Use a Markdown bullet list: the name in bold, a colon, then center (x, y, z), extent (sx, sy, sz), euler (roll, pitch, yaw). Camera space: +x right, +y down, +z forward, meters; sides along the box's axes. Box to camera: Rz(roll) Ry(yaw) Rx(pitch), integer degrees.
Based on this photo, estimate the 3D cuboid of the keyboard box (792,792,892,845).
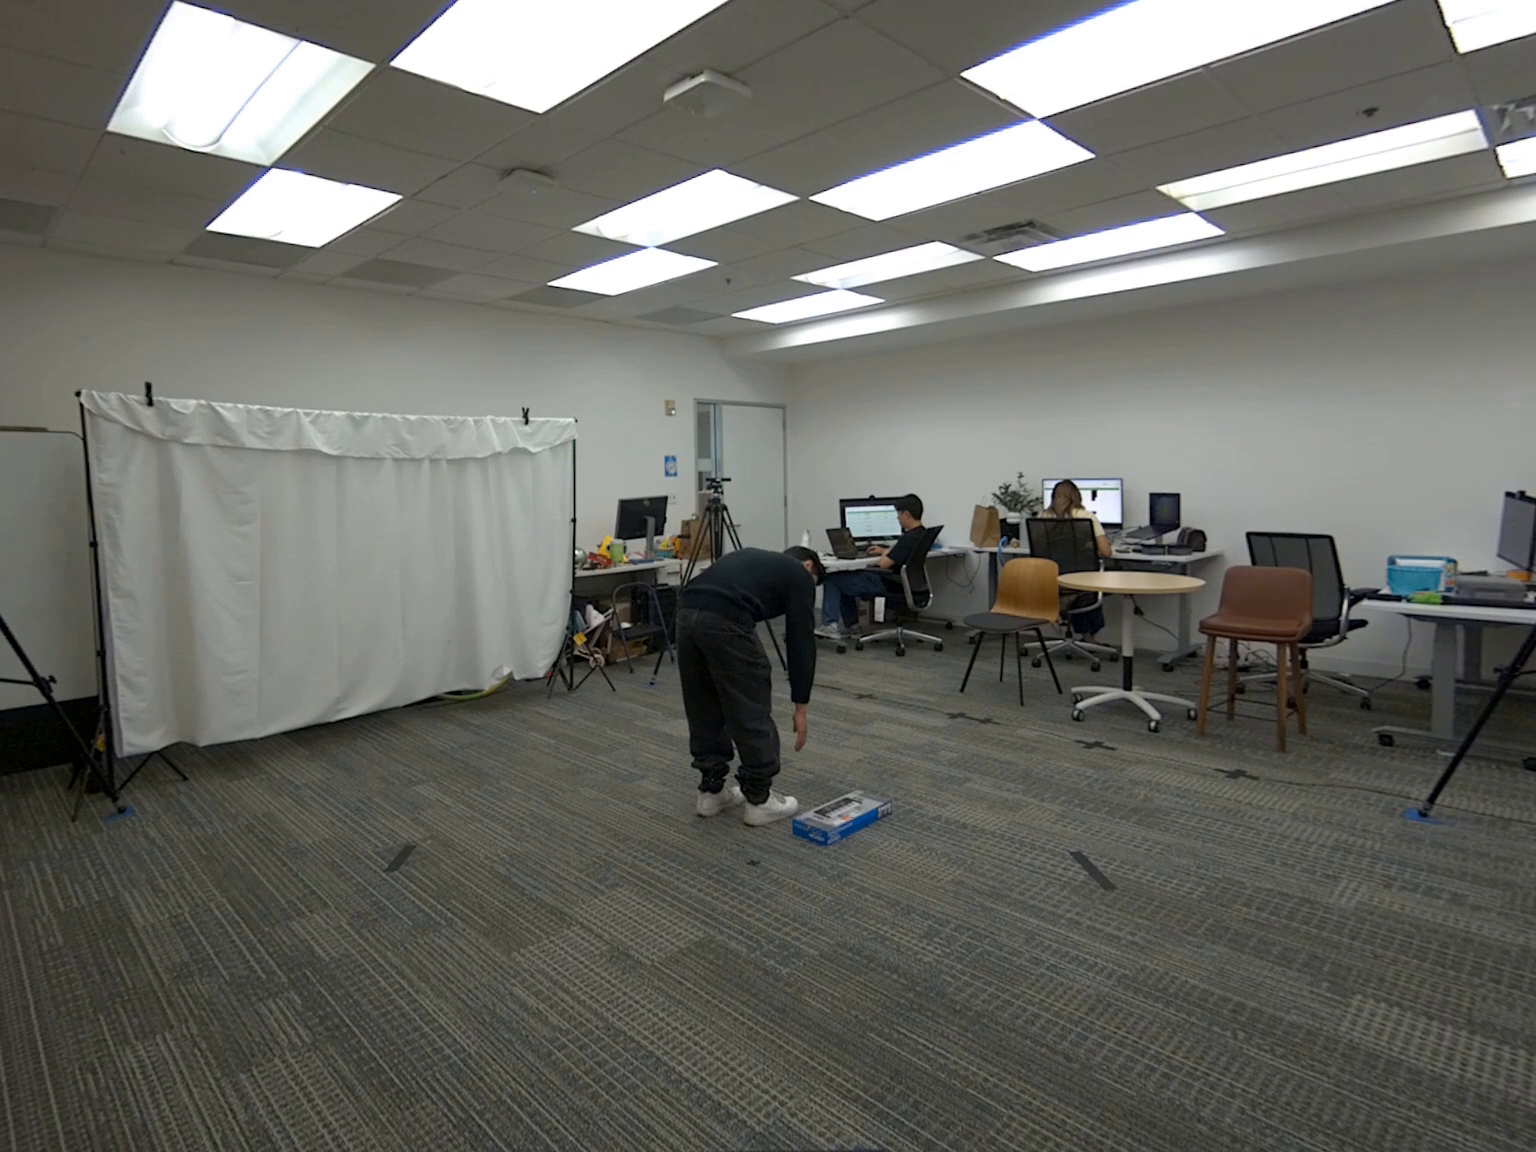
- **keyboard box**: center (0.306, 0.967, 3.442), extent (0.181, 0.059, 0.425), euler (6, 10, 43)
